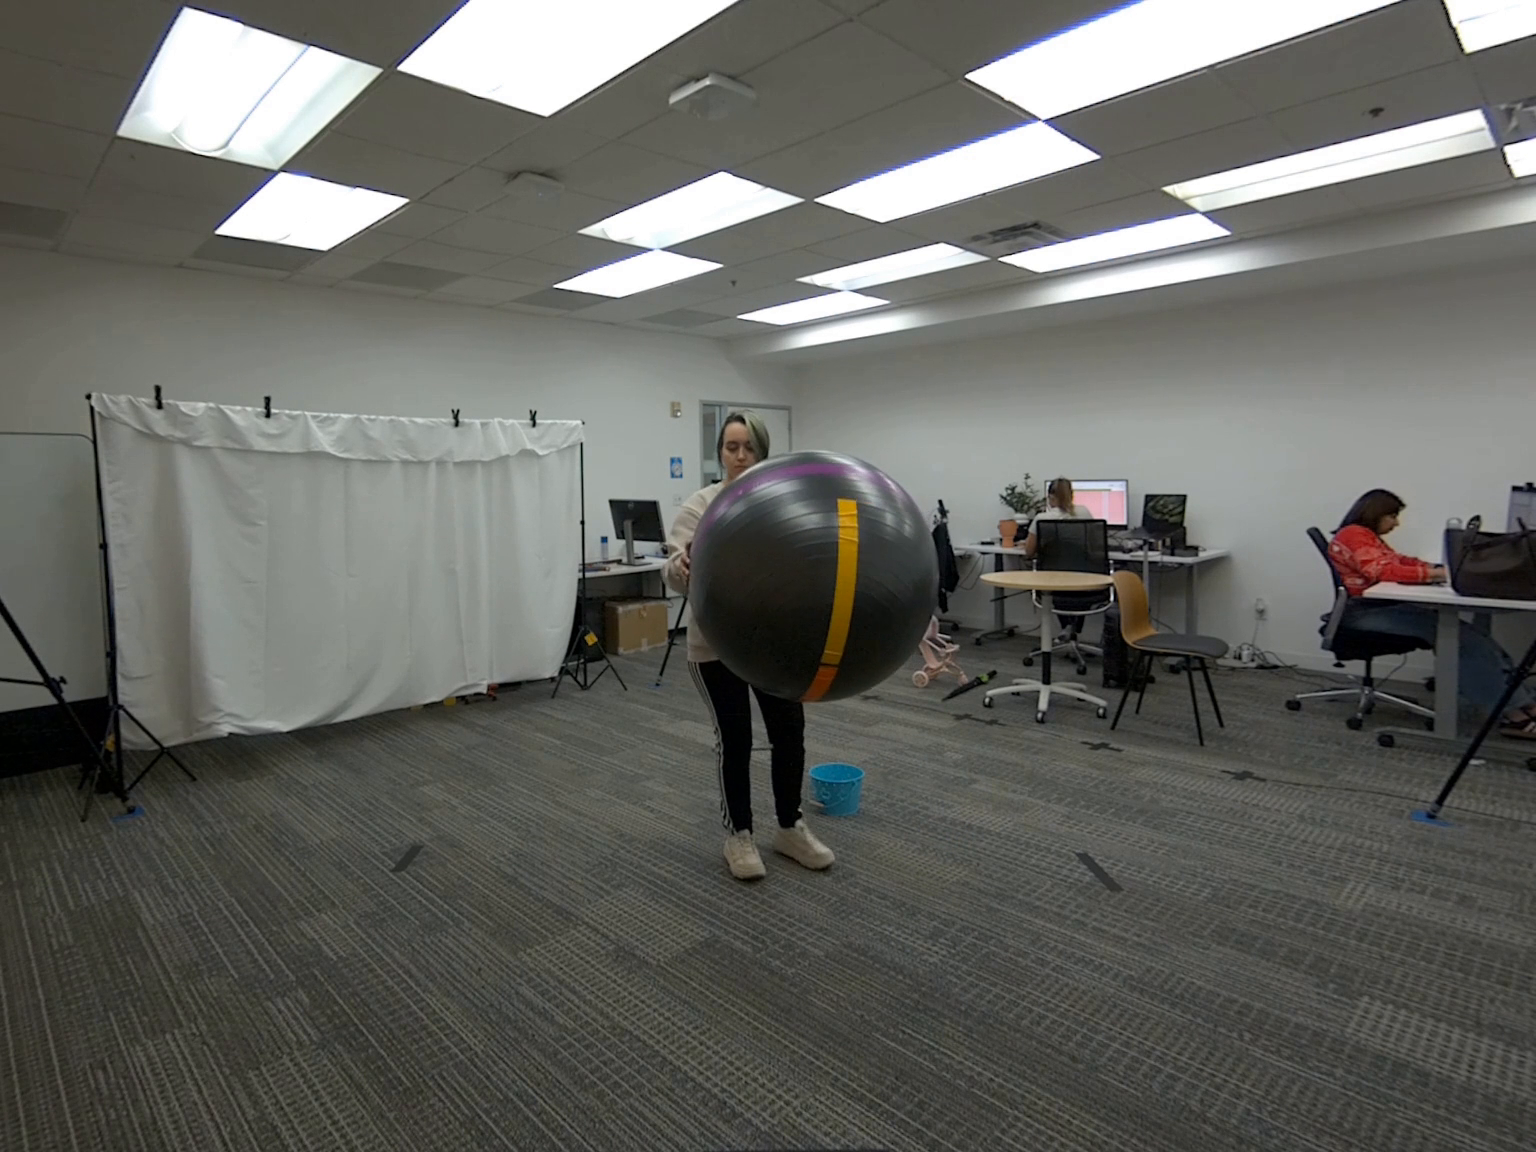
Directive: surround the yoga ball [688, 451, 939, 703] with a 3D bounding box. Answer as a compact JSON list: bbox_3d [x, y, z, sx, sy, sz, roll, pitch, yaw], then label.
[{"bbox_3d":[0.141,0.013,2.580,0.757,0.755,0.762,-1,5,-2],"label":"yoga ball"}]
